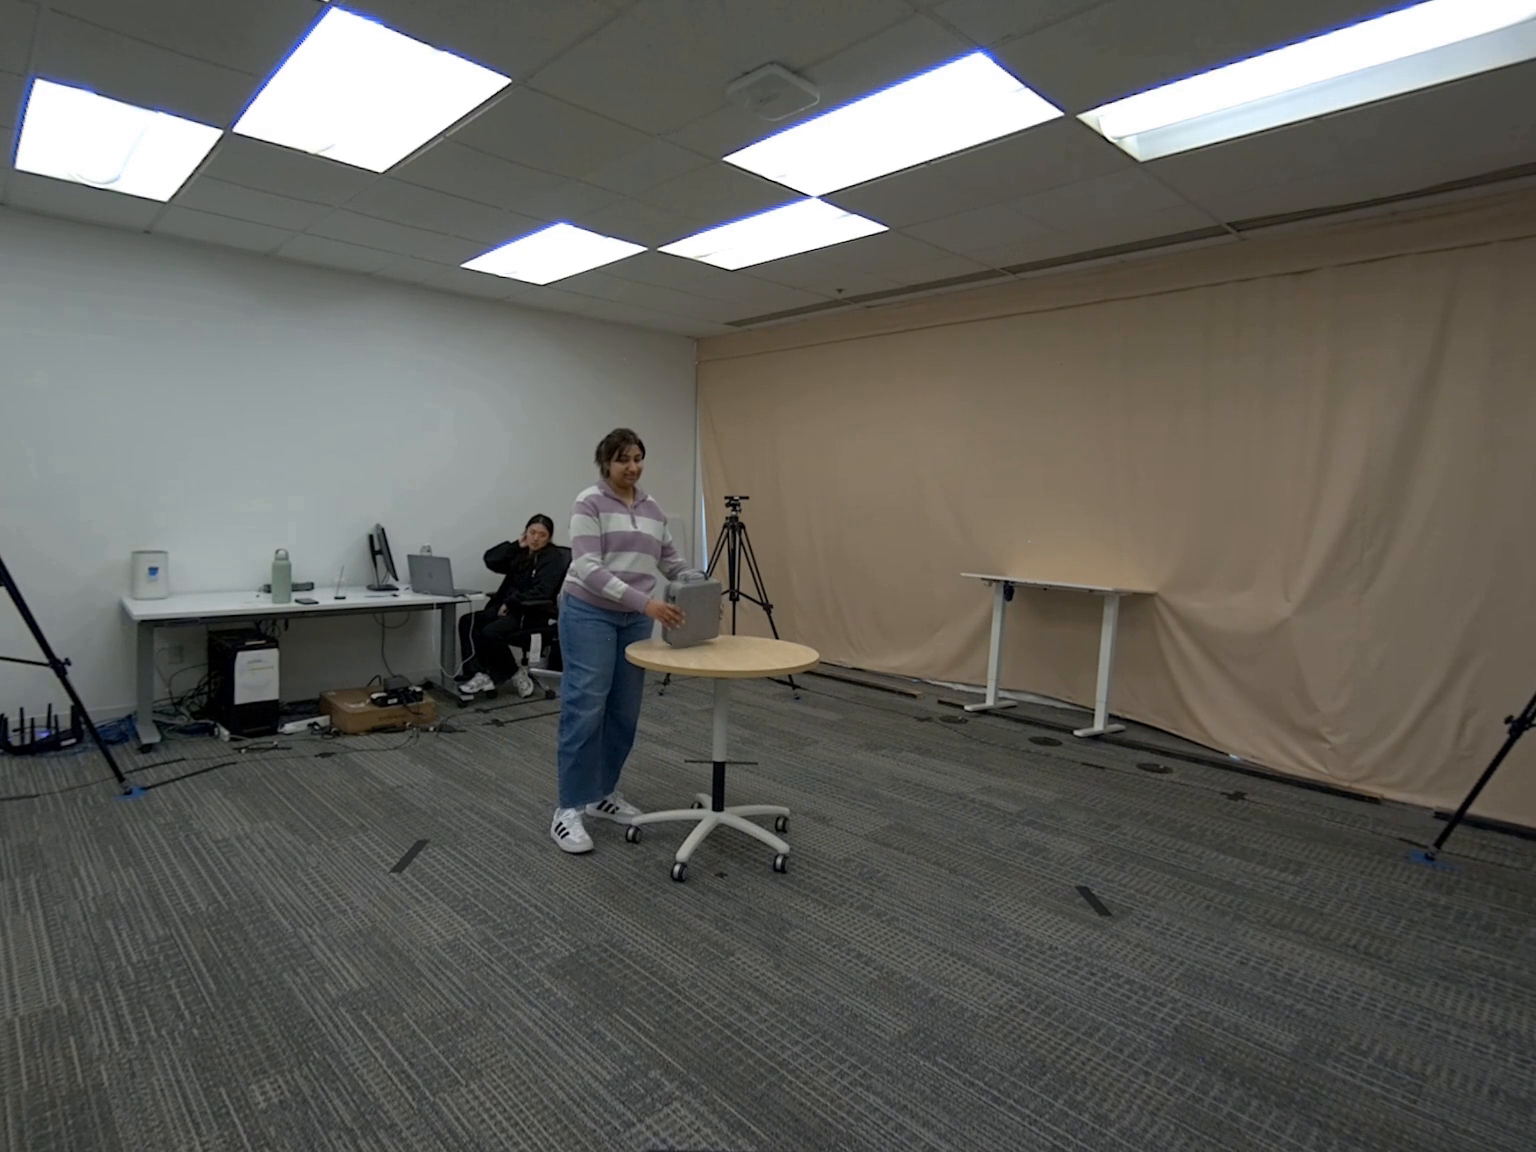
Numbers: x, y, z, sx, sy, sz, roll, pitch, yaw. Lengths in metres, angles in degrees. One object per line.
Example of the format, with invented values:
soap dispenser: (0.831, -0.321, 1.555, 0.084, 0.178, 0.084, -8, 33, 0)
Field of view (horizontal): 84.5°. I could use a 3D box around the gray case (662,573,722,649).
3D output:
gray case: (-0.317, 0.130, 3.411, 0.107, 0.259, 0.251, 11, 13, 42)
